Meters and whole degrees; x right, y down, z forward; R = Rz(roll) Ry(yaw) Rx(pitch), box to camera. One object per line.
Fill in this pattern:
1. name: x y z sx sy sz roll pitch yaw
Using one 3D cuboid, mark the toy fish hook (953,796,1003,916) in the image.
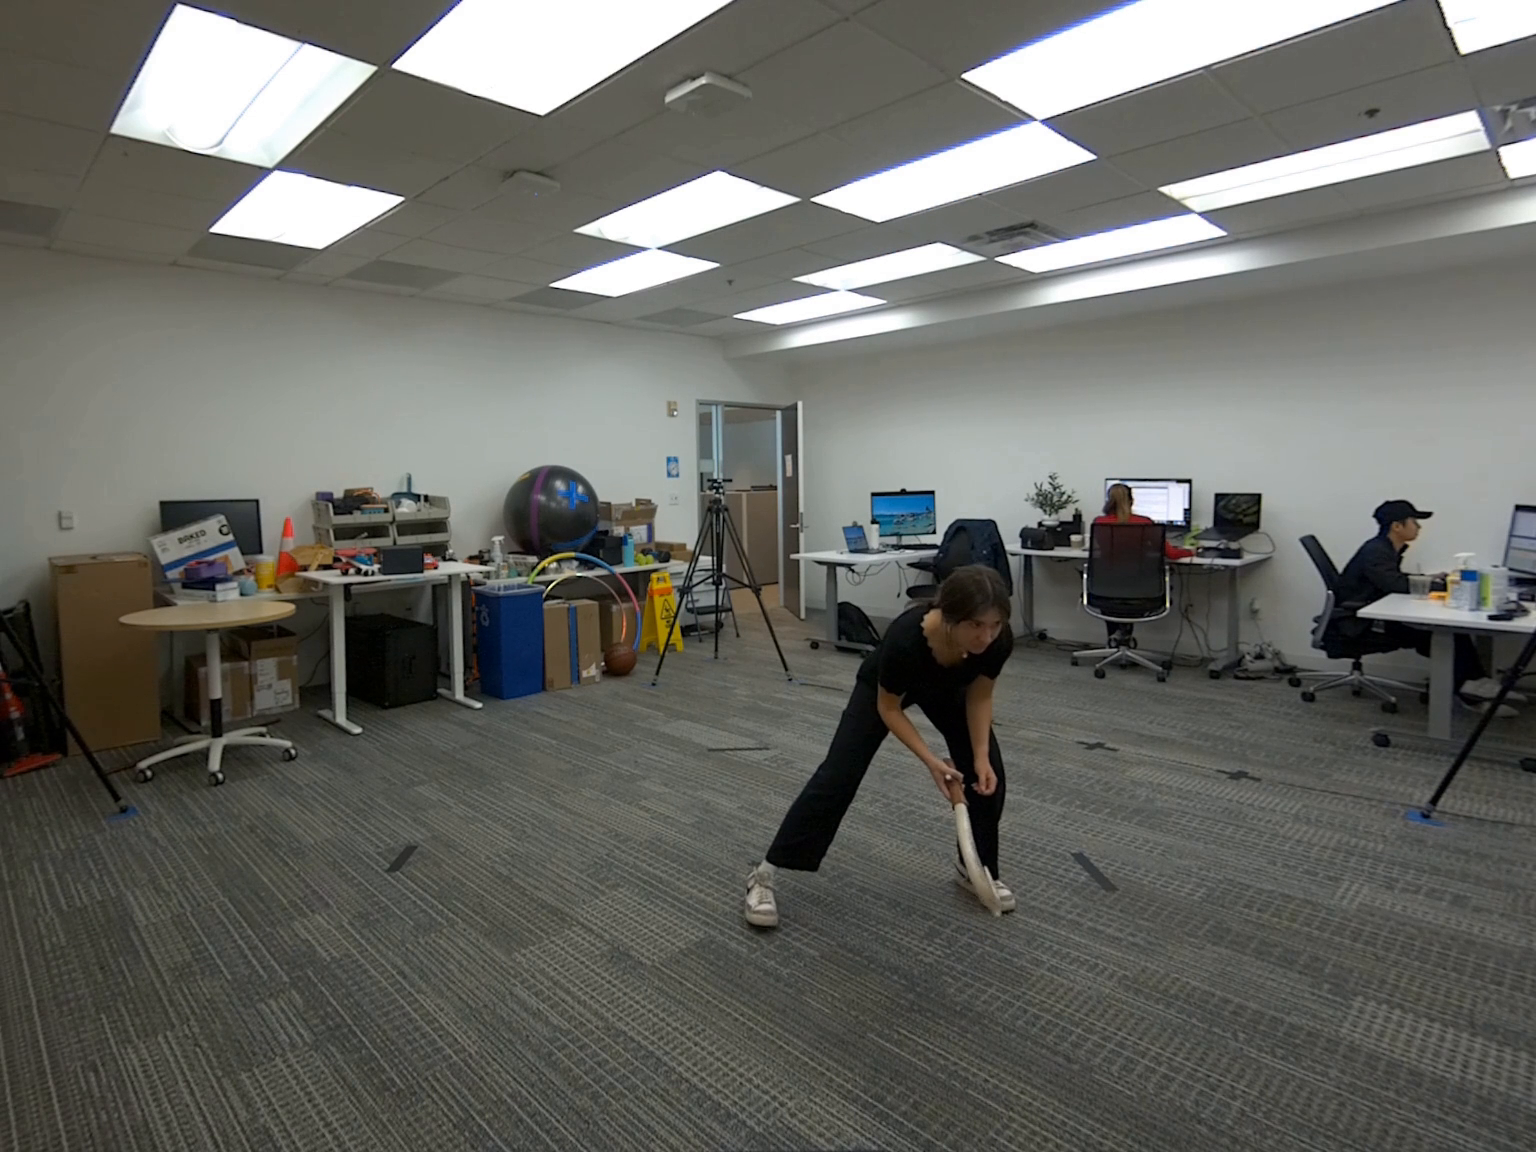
1. toy fish hook: 0.581 0.741 2.447 0.048 0.218 0.518 -18 29 11
